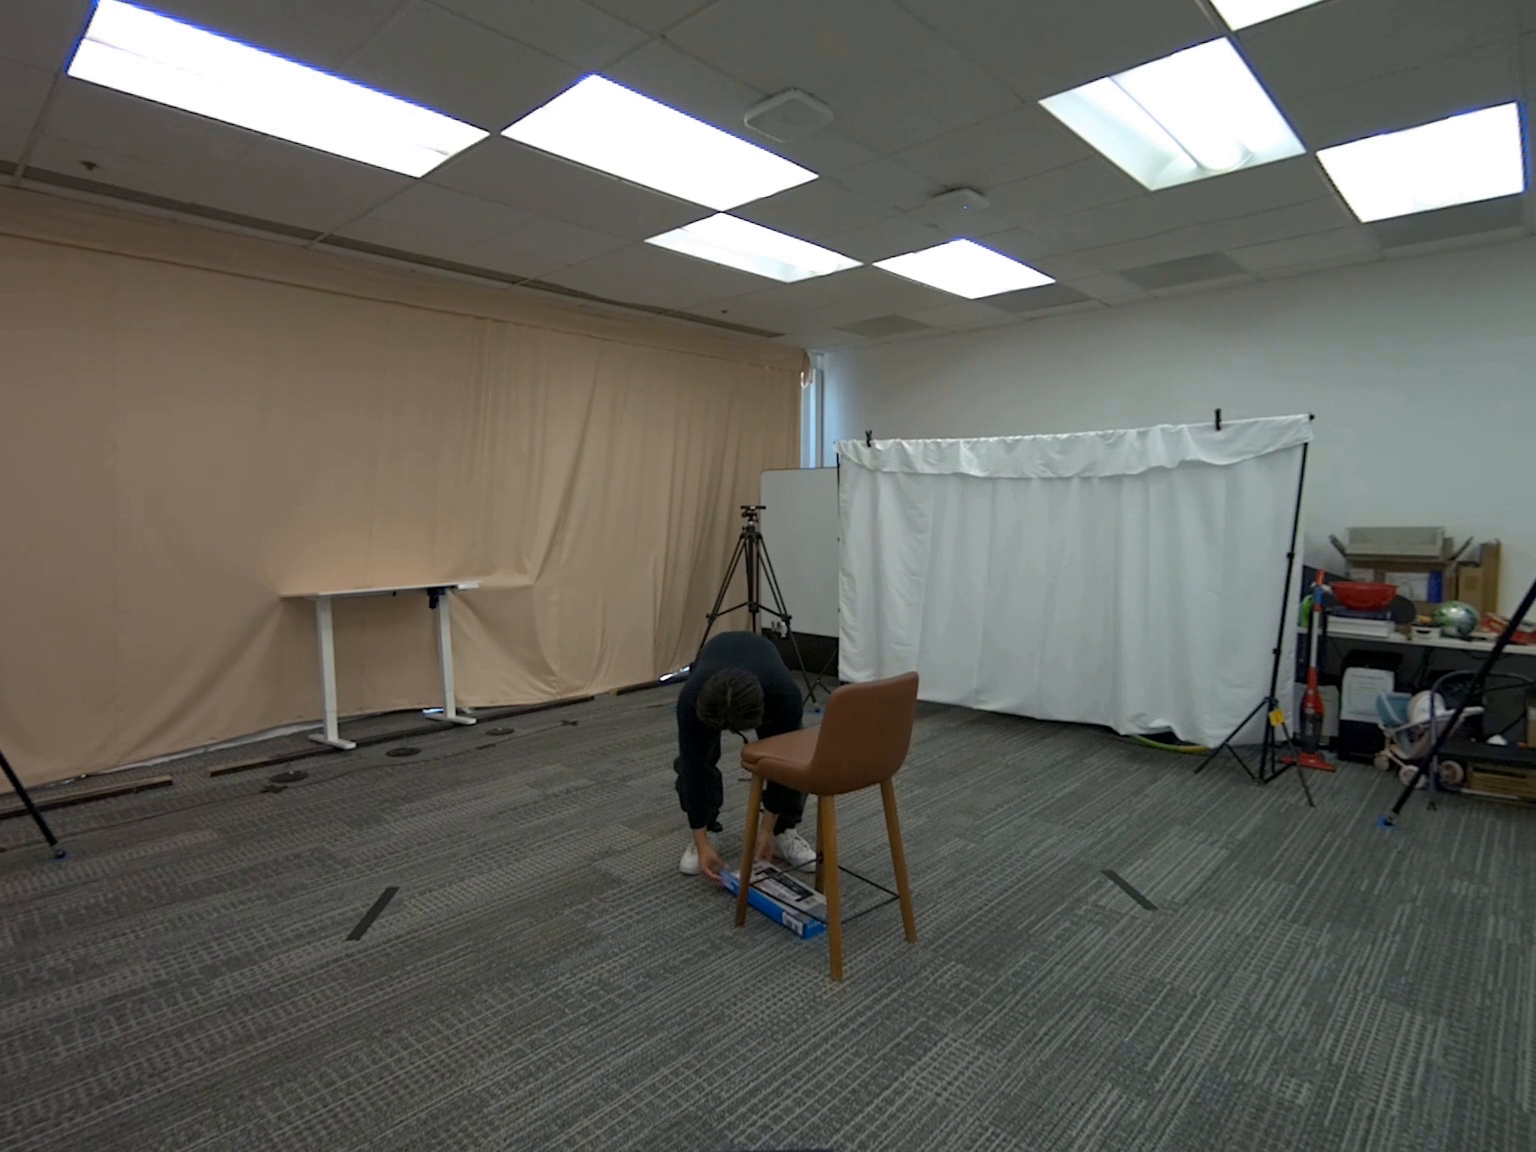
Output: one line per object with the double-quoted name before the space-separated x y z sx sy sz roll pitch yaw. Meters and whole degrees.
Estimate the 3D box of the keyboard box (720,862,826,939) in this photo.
"keyboard box" 0.037 1.095 2.917 0.171 0.059 0.452 -5 11 -40
